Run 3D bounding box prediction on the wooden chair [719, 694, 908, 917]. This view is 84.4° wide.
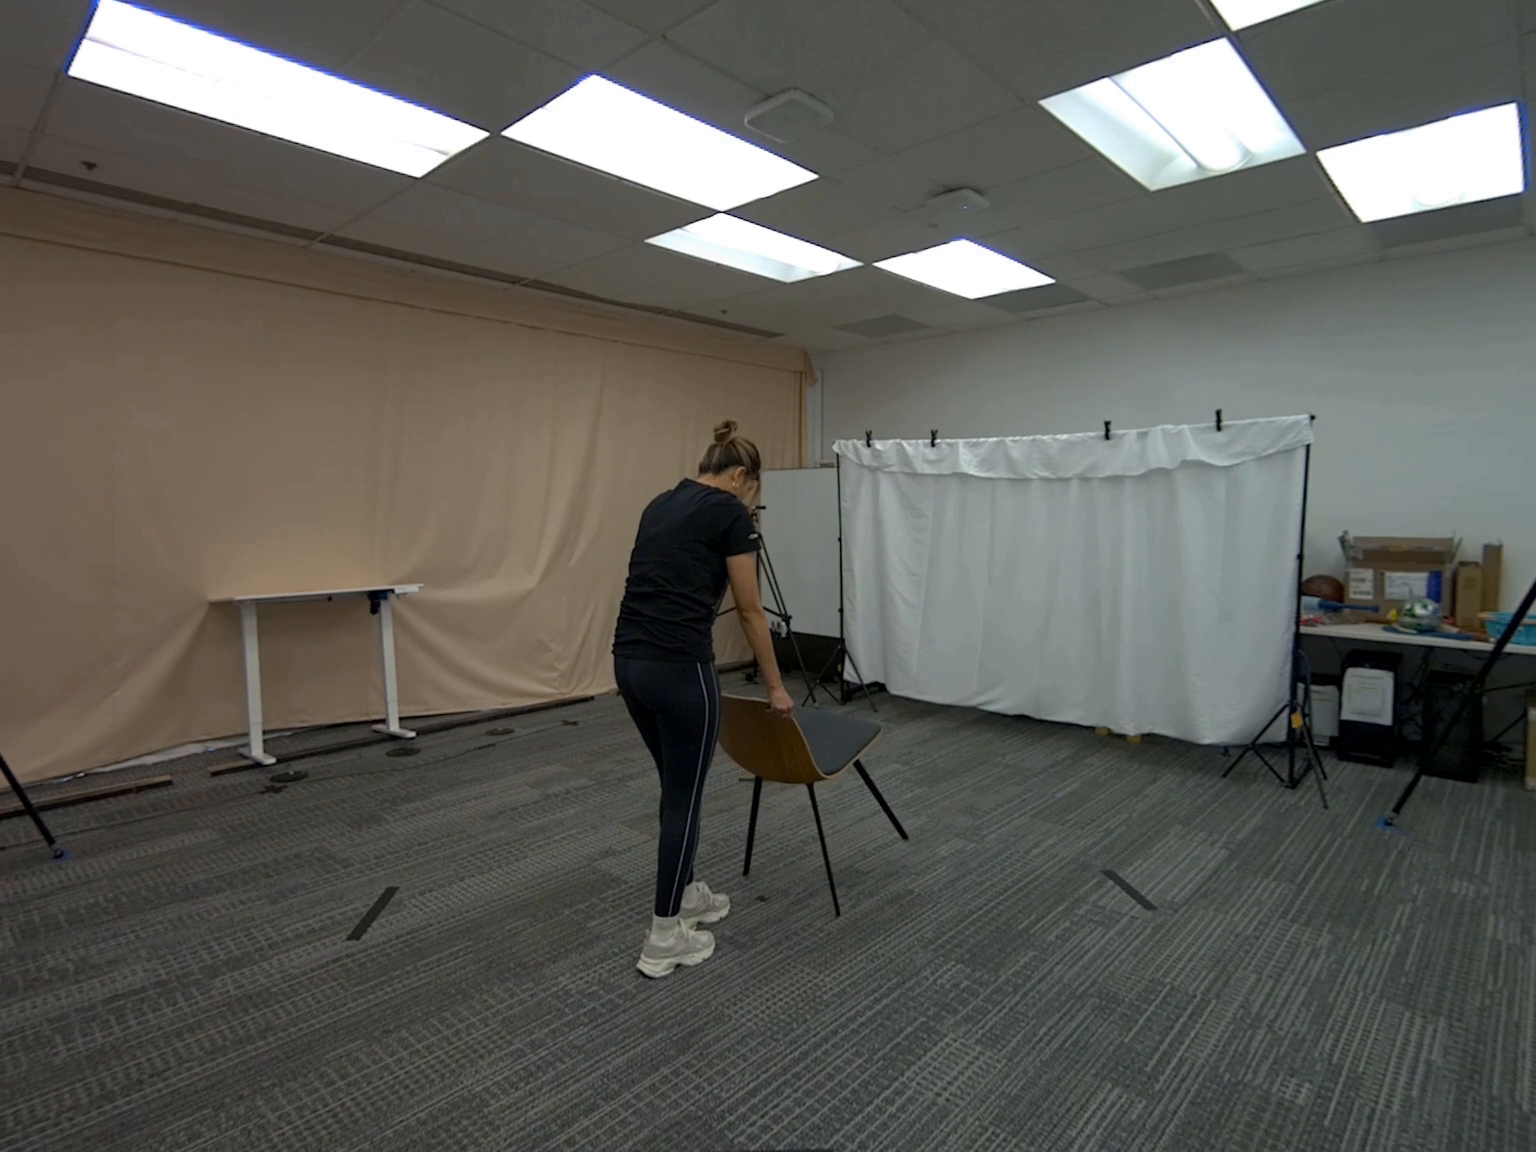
[{"bbox_3d":[0.132,0.660,3.039,0.494,0.862,0.515,4,28,44],"label":"wooden chair"}]
